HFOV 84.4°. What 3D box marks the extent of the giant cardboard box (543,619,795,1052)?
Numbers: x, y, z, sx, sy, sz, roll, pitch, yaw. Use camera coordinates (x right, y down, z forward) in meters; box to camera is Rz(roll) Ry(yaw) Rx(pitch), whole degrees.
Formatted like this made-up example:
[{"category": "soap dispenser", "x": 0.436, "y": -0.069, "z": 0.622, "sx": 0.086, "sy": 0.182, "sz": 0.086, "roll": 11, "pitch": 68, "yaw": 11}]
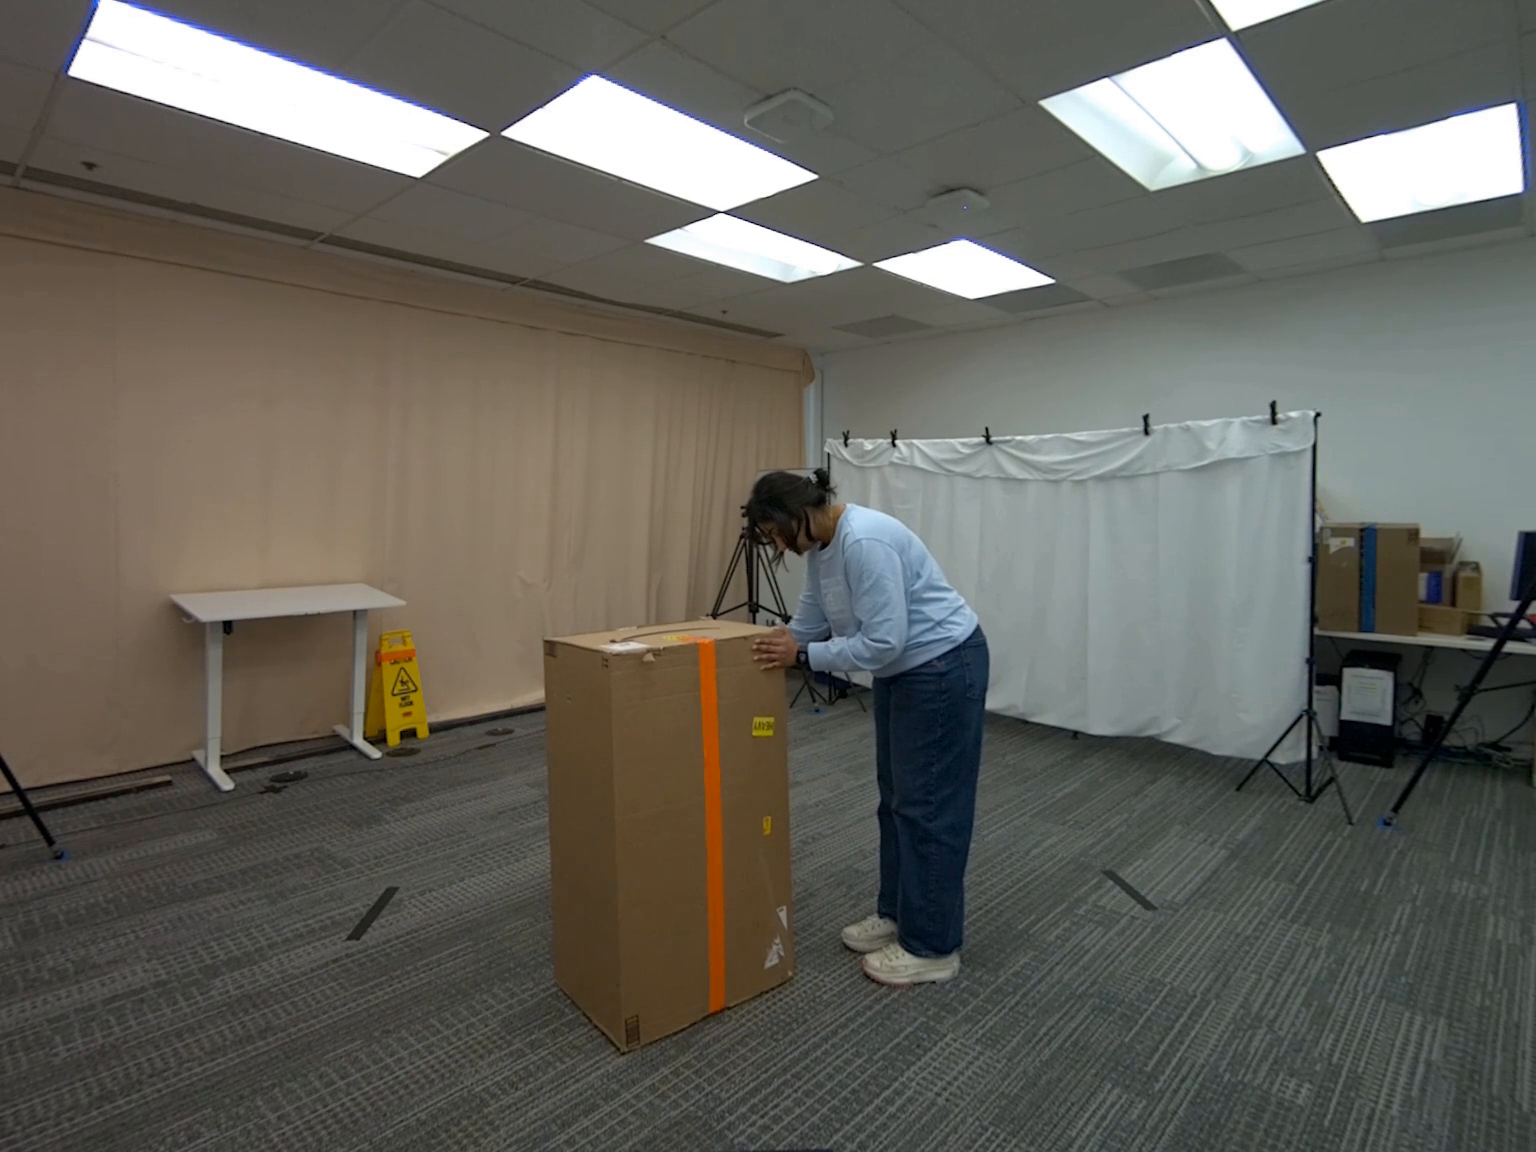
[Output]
[{"category": "giant cardboard box", "x": -0.286, "y": 0.687, "z": 2.450, "sx": 0.560, "sy": 1.024, "sz": 0.439, "roll": -3, "pitch": 3, "yaw": -38}]
